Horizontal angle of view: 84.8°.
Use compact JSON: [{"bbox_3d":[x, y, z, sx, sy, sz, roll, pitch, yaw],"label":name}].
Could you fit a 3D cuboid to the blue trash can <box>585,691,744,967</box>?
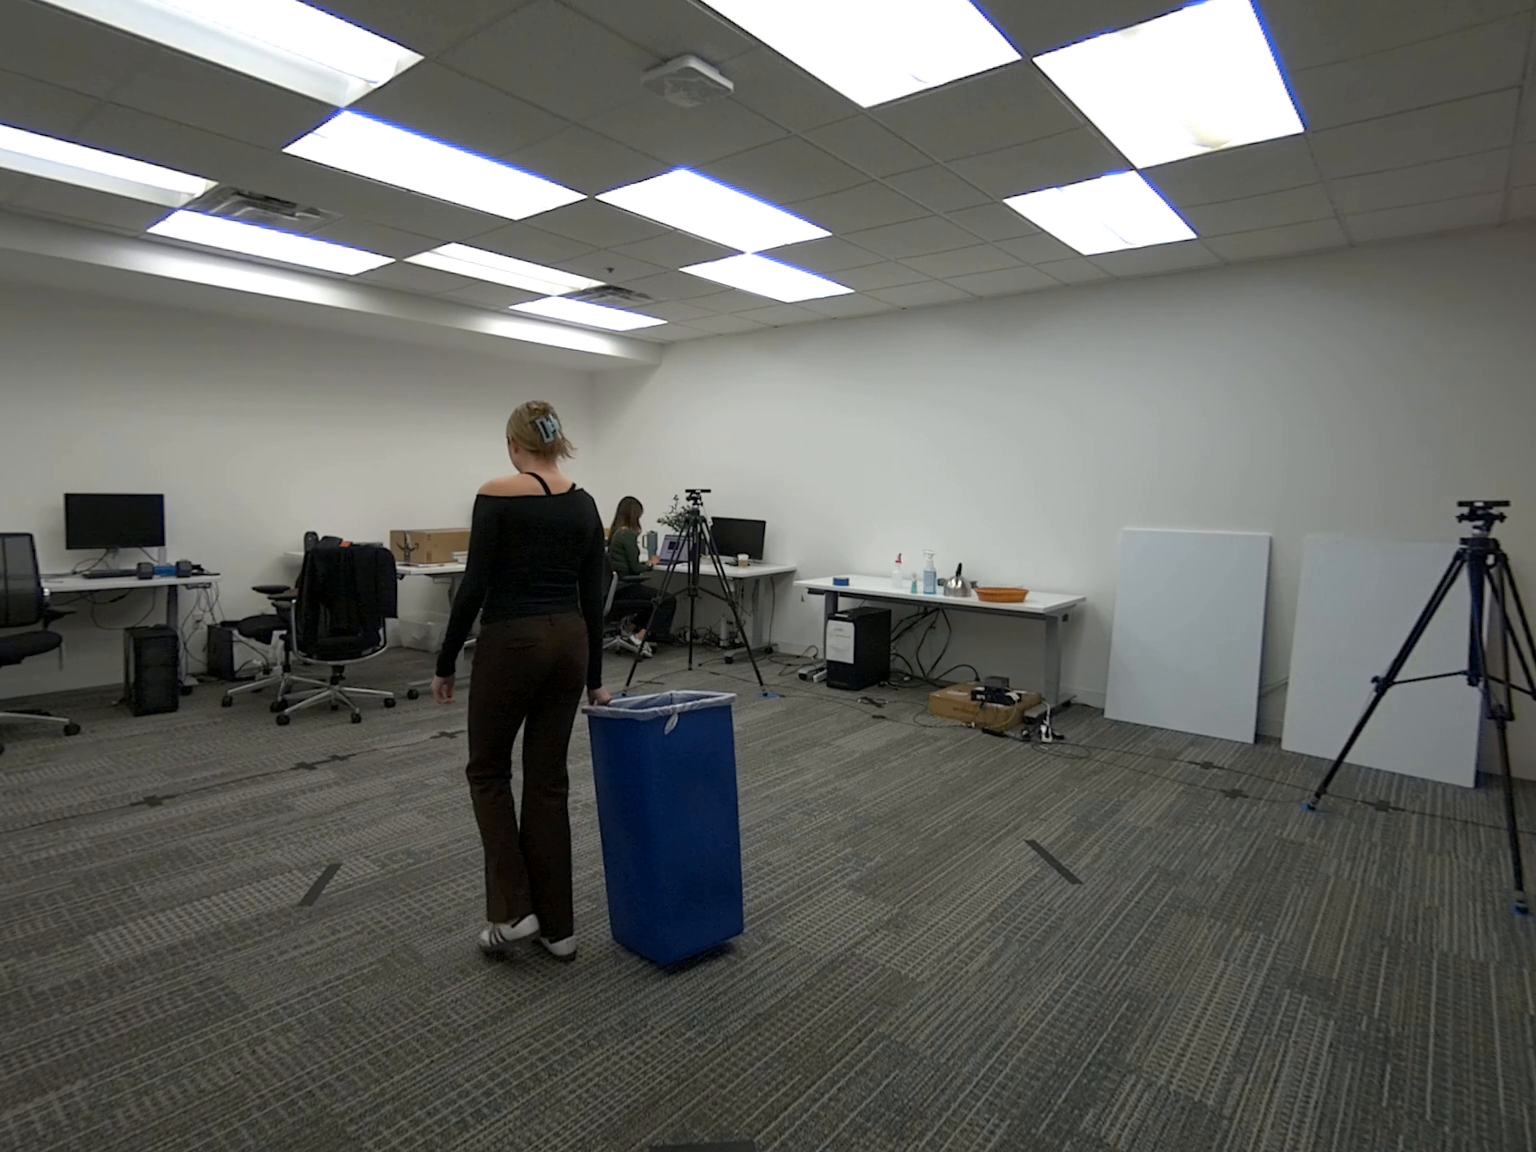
[{"bbox_3d":[-0.324,0.739,2.635,0.367,0.717,0.384,-2,-5,-40],"label":"blue trash can"}]
